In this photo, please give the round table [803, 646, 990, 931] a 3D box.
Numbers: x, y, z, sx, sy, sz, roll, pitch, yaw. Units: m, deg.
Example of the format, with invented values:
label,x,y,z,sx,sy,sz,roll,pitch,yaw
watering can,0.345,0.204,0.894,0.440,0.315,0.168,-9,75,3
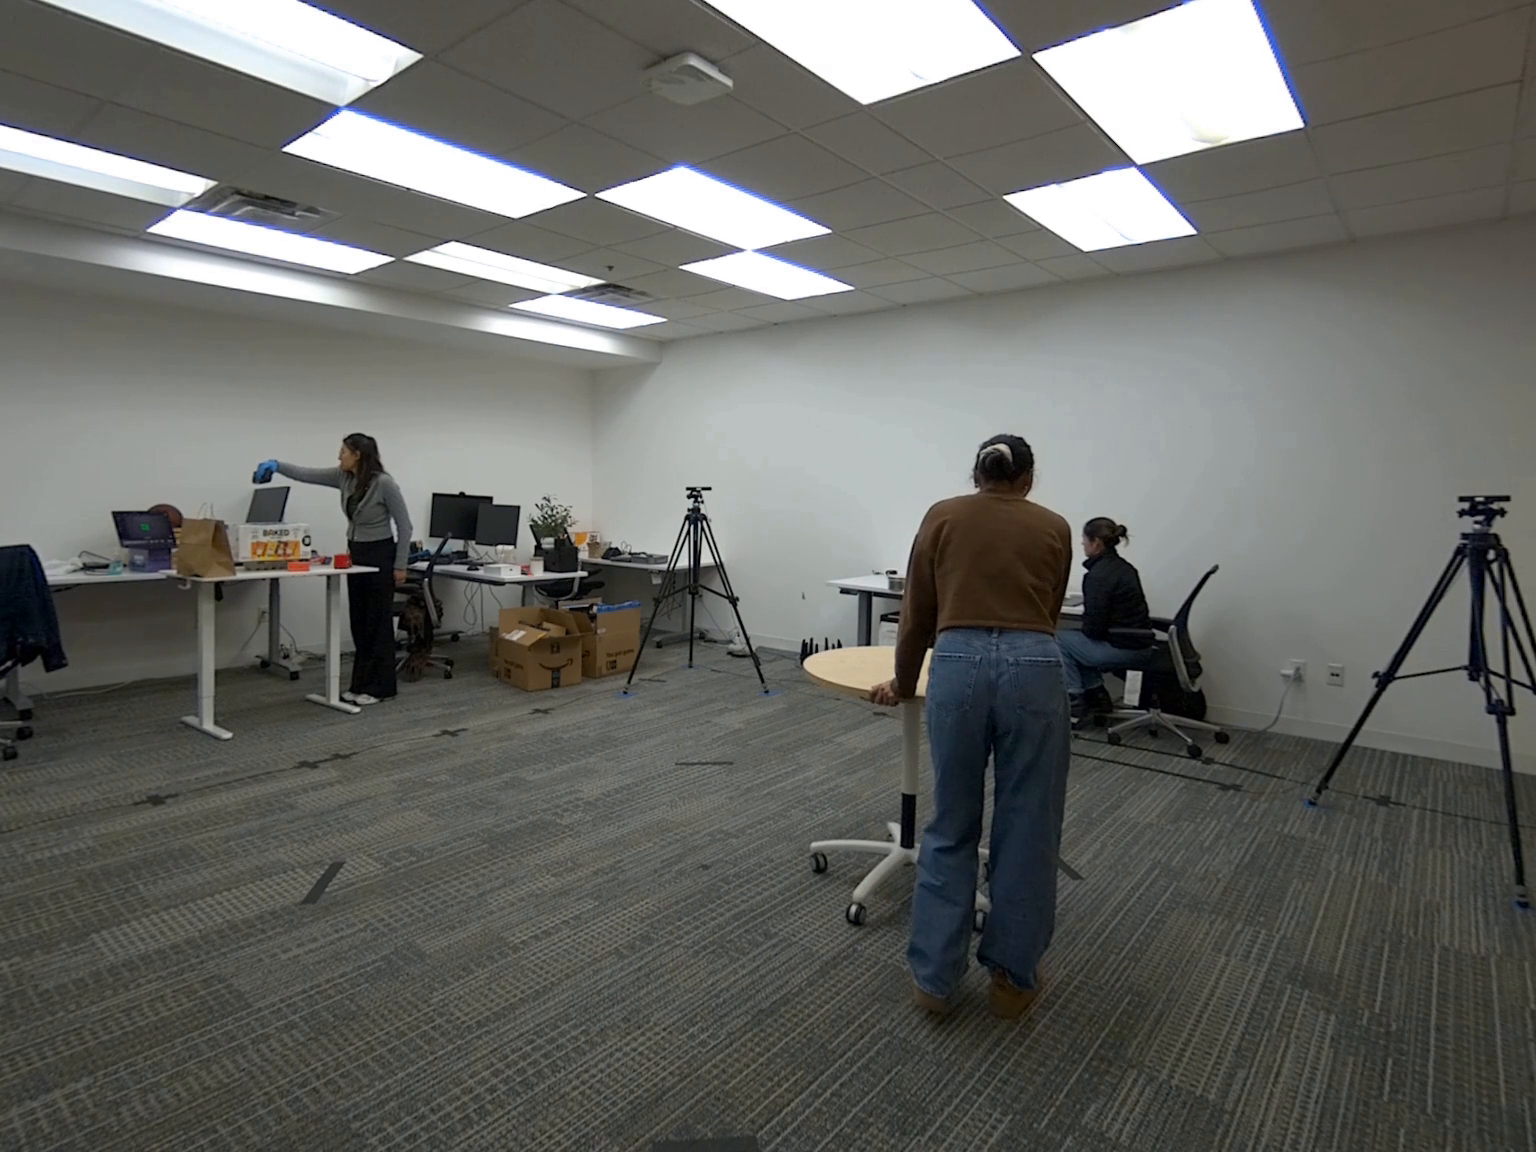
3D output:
label,x,y,z,sx,sy,sz,roll,pitch,yaw
round table,0.488,0.706,2.983,0.763,0.791,0.768,1,5,-2
